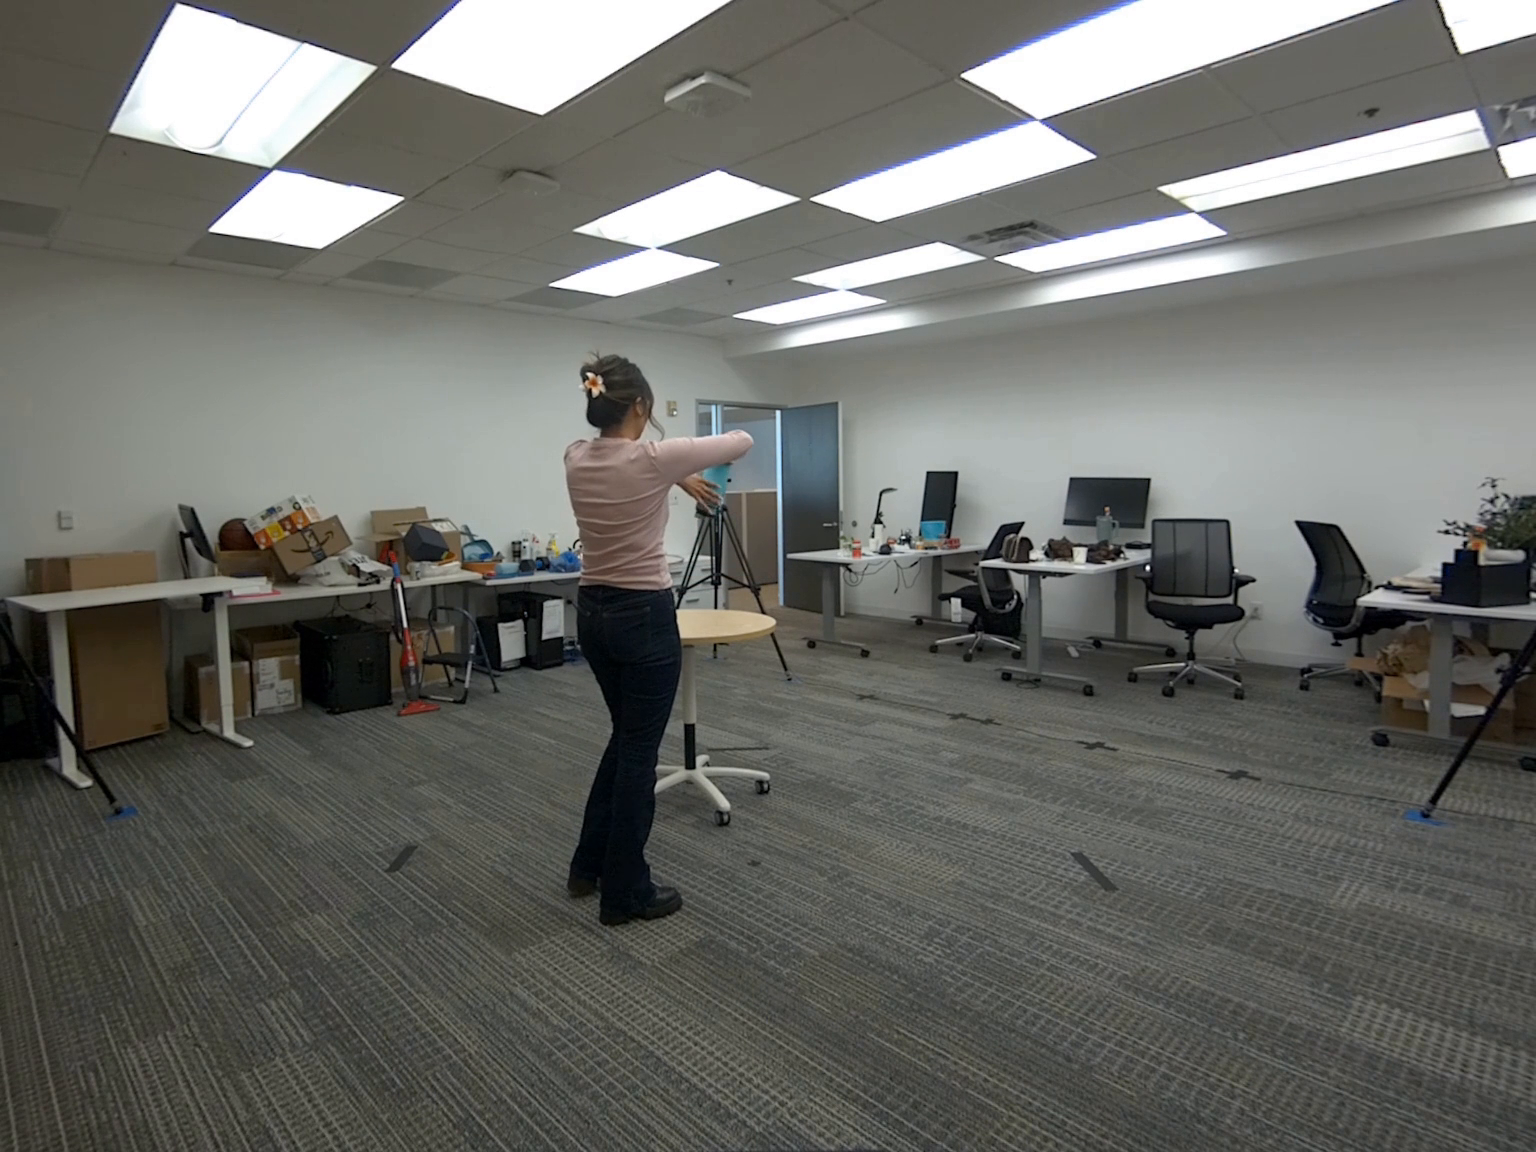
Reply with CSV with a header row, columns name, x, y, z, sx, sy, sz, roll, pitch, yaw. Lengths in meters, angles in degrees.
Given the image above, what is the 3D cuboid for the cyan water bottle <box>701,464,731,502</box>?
name,x,y,z,sx,sy,sz,roll,pitch,yaw
cyan water bottle,-0.181,-0.333,3.041,0.092,0.282,0.093,16,7,-4
